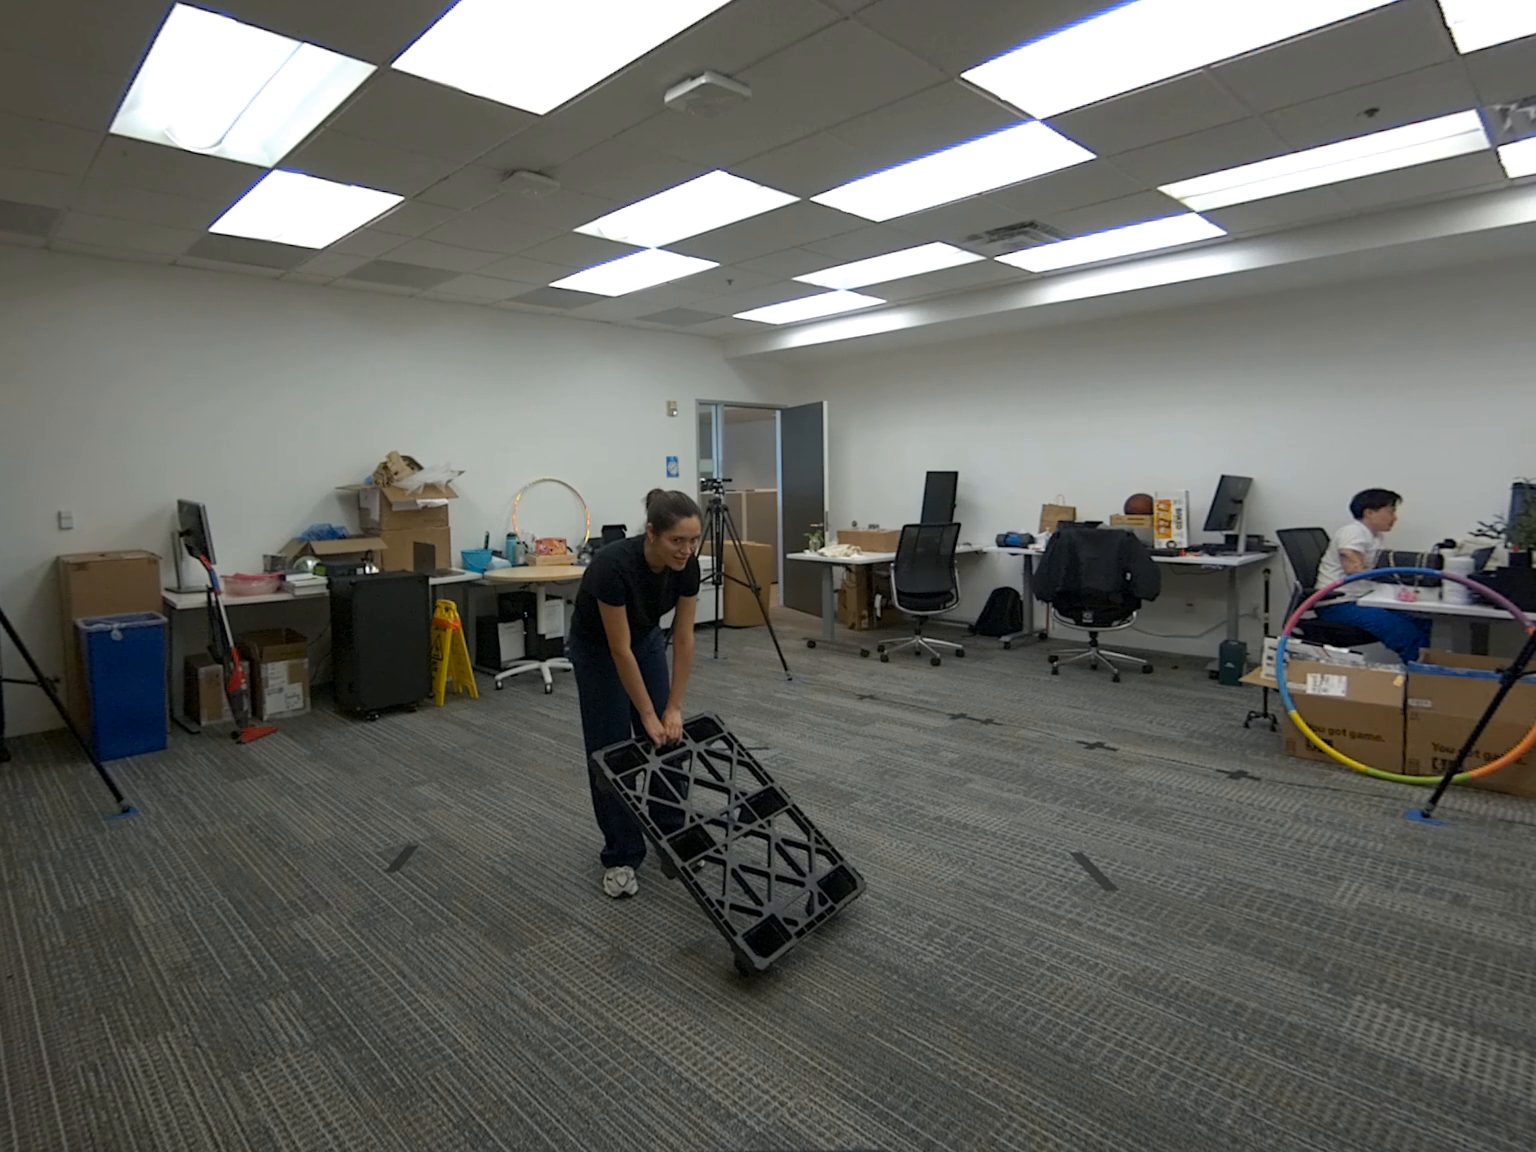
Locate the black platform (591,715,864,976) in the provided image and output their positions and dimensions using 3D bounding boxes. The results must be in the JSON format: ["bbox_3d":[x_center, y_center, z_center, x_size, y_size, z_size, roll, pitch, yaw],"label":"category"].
[{"bbox_3d":[-0.135,0.816,2.740,0.832,0.142,0.590,44,29,26],"label":"black platform"}]
